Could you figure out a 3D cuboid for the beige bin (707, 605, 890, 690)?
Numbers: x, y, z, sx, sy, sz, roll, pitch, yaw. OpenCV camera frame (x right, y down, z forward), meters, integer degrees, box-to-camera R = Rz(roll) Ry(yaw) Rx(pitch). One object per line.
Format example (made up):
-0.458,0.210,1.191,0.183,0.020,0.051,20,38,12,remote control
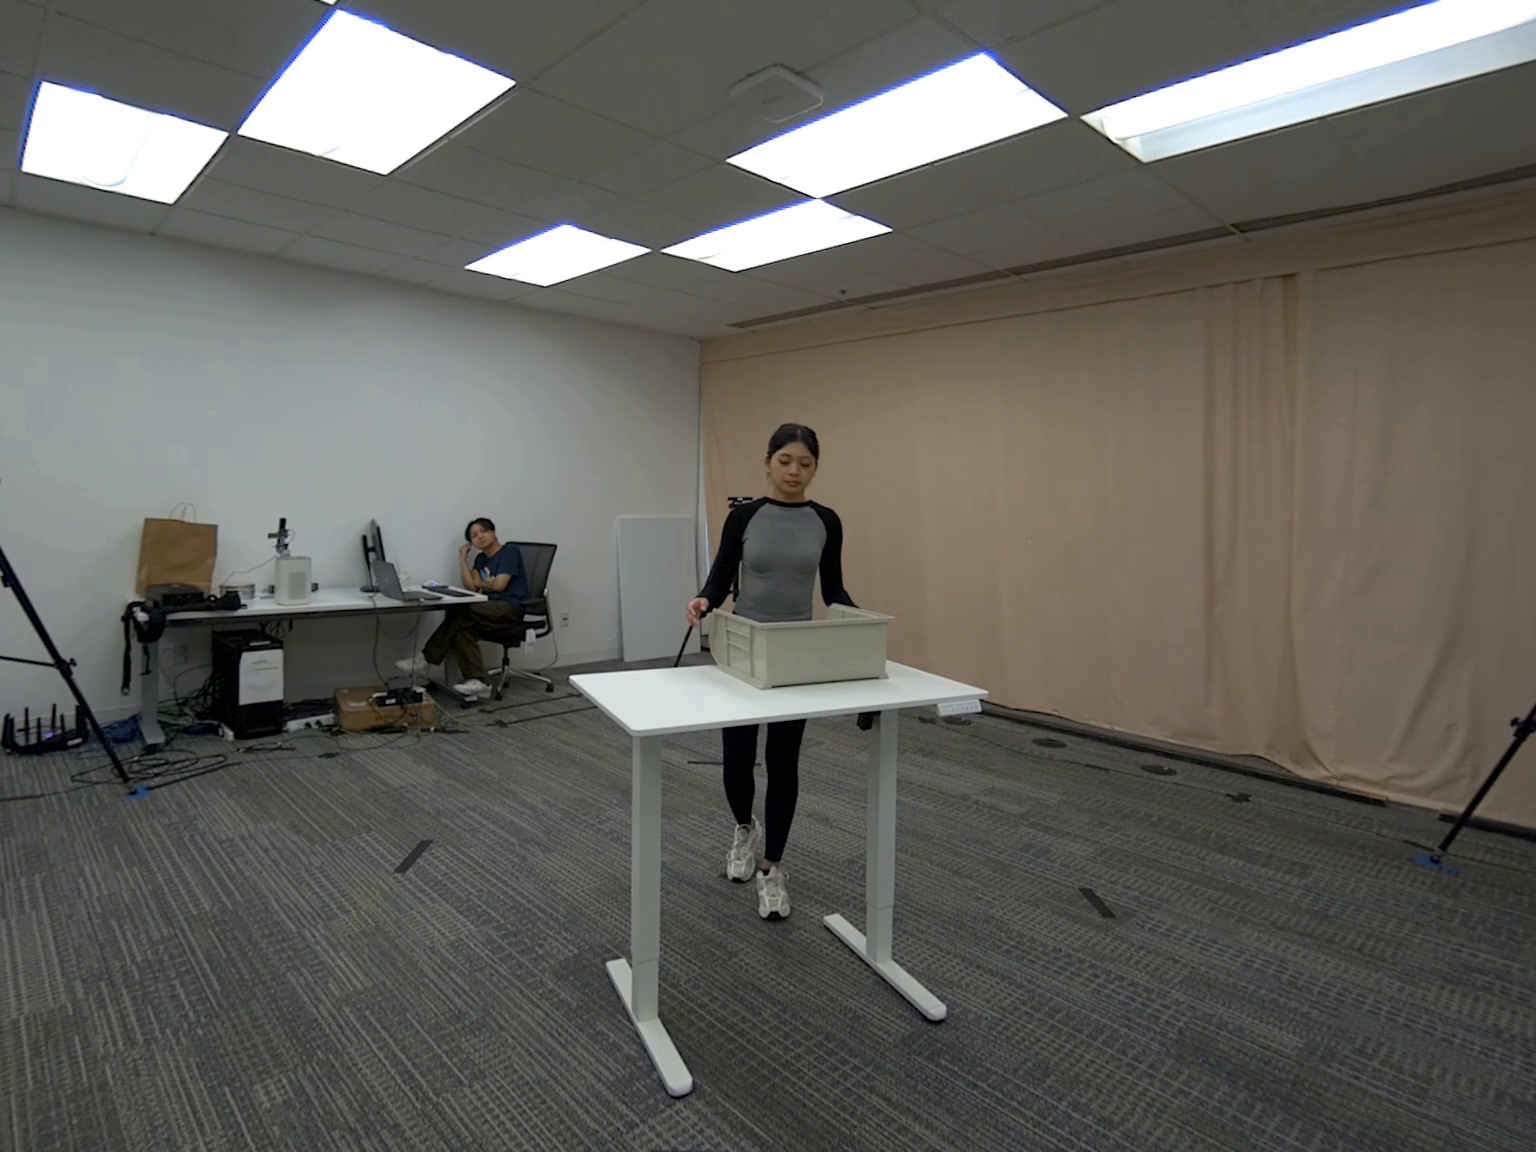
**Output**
0.081,0.199,2.491,0.415,0.188,0.385,-1,7,-24,beige bin
